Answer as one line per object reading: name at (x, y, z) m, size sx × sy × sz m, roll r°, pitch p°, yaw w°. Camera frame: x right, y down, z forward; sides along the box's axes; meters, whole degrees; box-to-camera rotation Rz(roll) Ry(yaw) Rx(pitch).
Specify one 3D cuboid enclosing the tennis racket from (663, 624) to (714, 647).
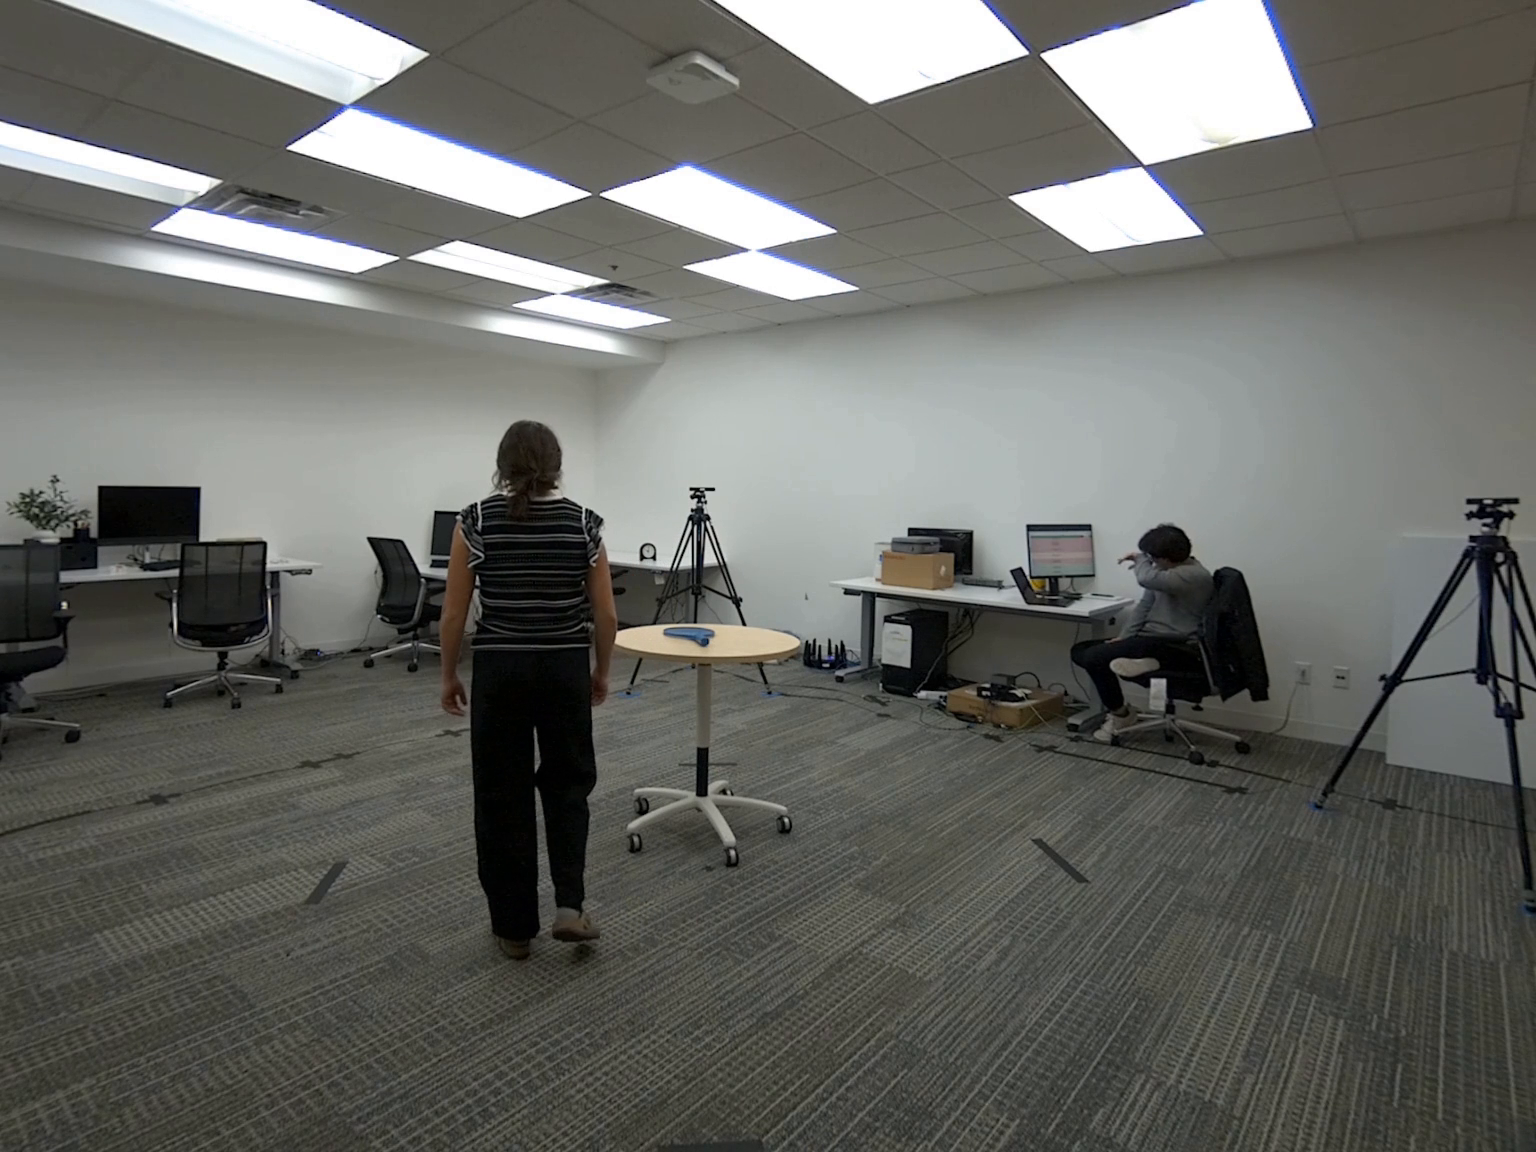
tennis racket at (-0.323, 0.239, 3.469) m, size 0.210 × 0.032 × 0.441 m, roll 0°, pitch 4°, yaw -17°
